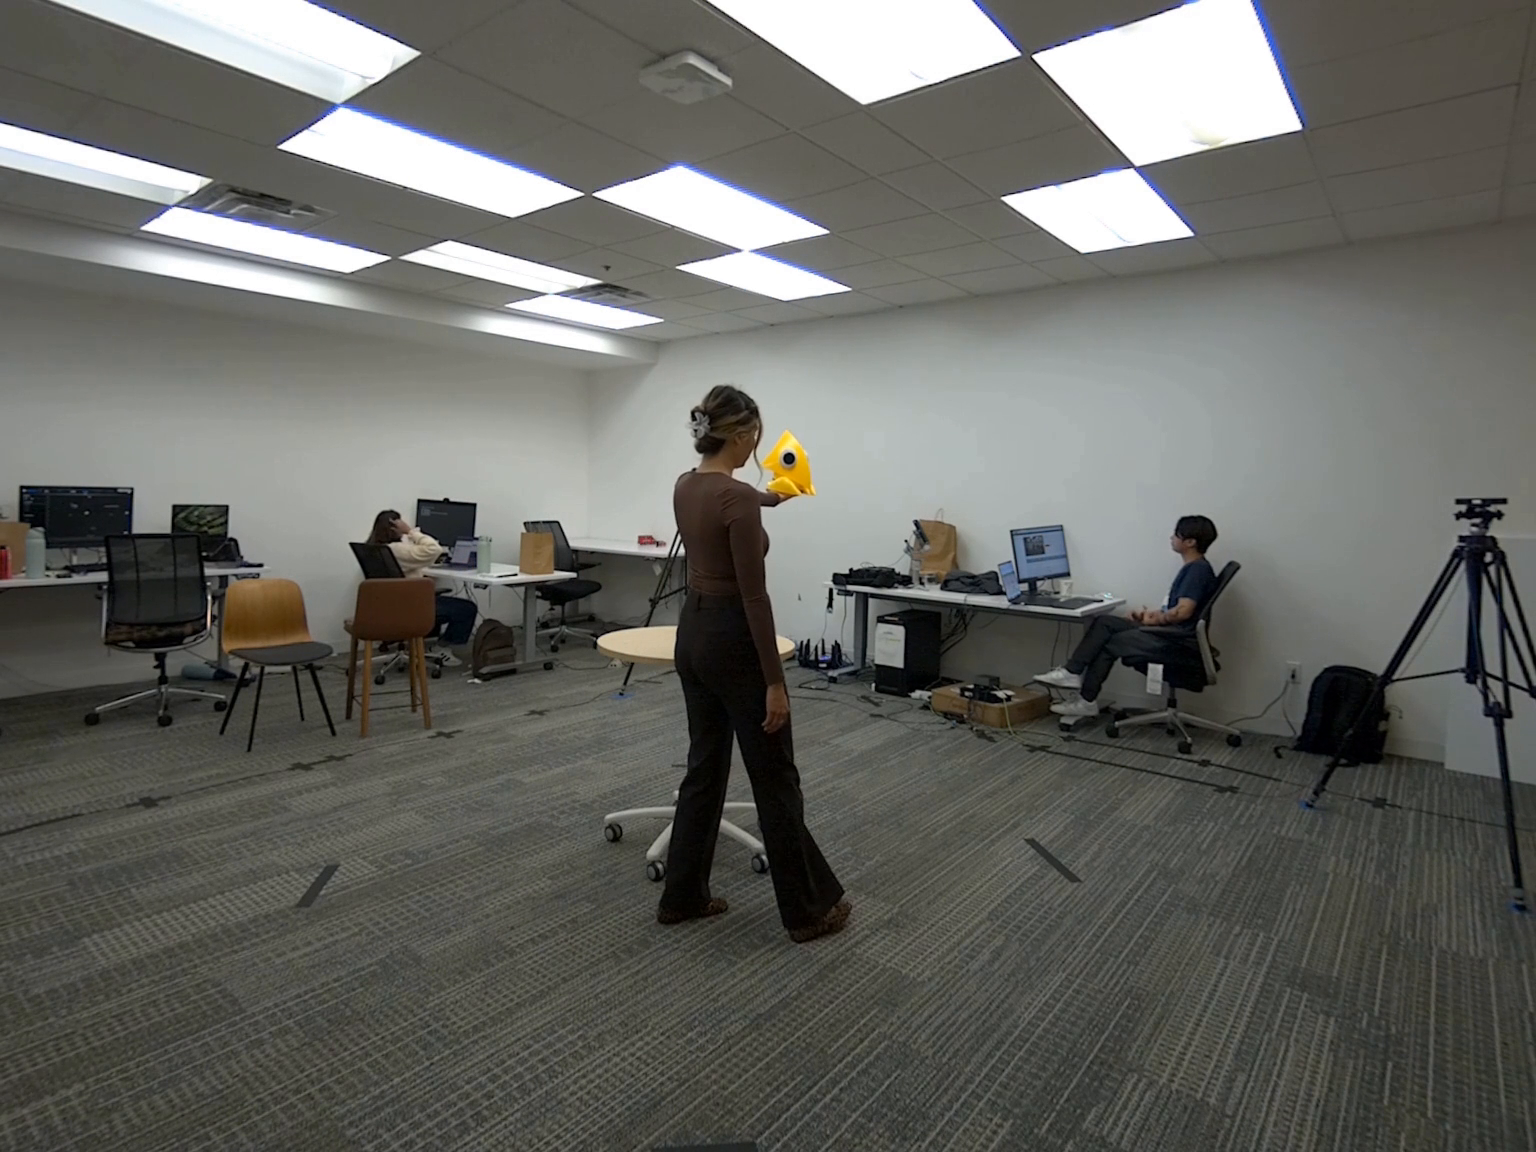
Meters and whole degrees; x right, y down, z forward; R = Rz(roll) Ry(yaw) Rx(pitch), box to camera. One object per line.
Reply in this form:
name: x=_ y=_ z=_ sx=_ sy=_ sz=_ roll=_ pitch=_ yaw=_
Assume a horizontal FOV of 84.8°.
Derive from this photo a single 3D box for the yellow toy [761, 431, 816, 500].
yellow toy: x=0.092 y=-0.449 z=3.313 sx=0.200 sy=0.229 sz=0.199 roll=17 pitch=12 yaw=32
